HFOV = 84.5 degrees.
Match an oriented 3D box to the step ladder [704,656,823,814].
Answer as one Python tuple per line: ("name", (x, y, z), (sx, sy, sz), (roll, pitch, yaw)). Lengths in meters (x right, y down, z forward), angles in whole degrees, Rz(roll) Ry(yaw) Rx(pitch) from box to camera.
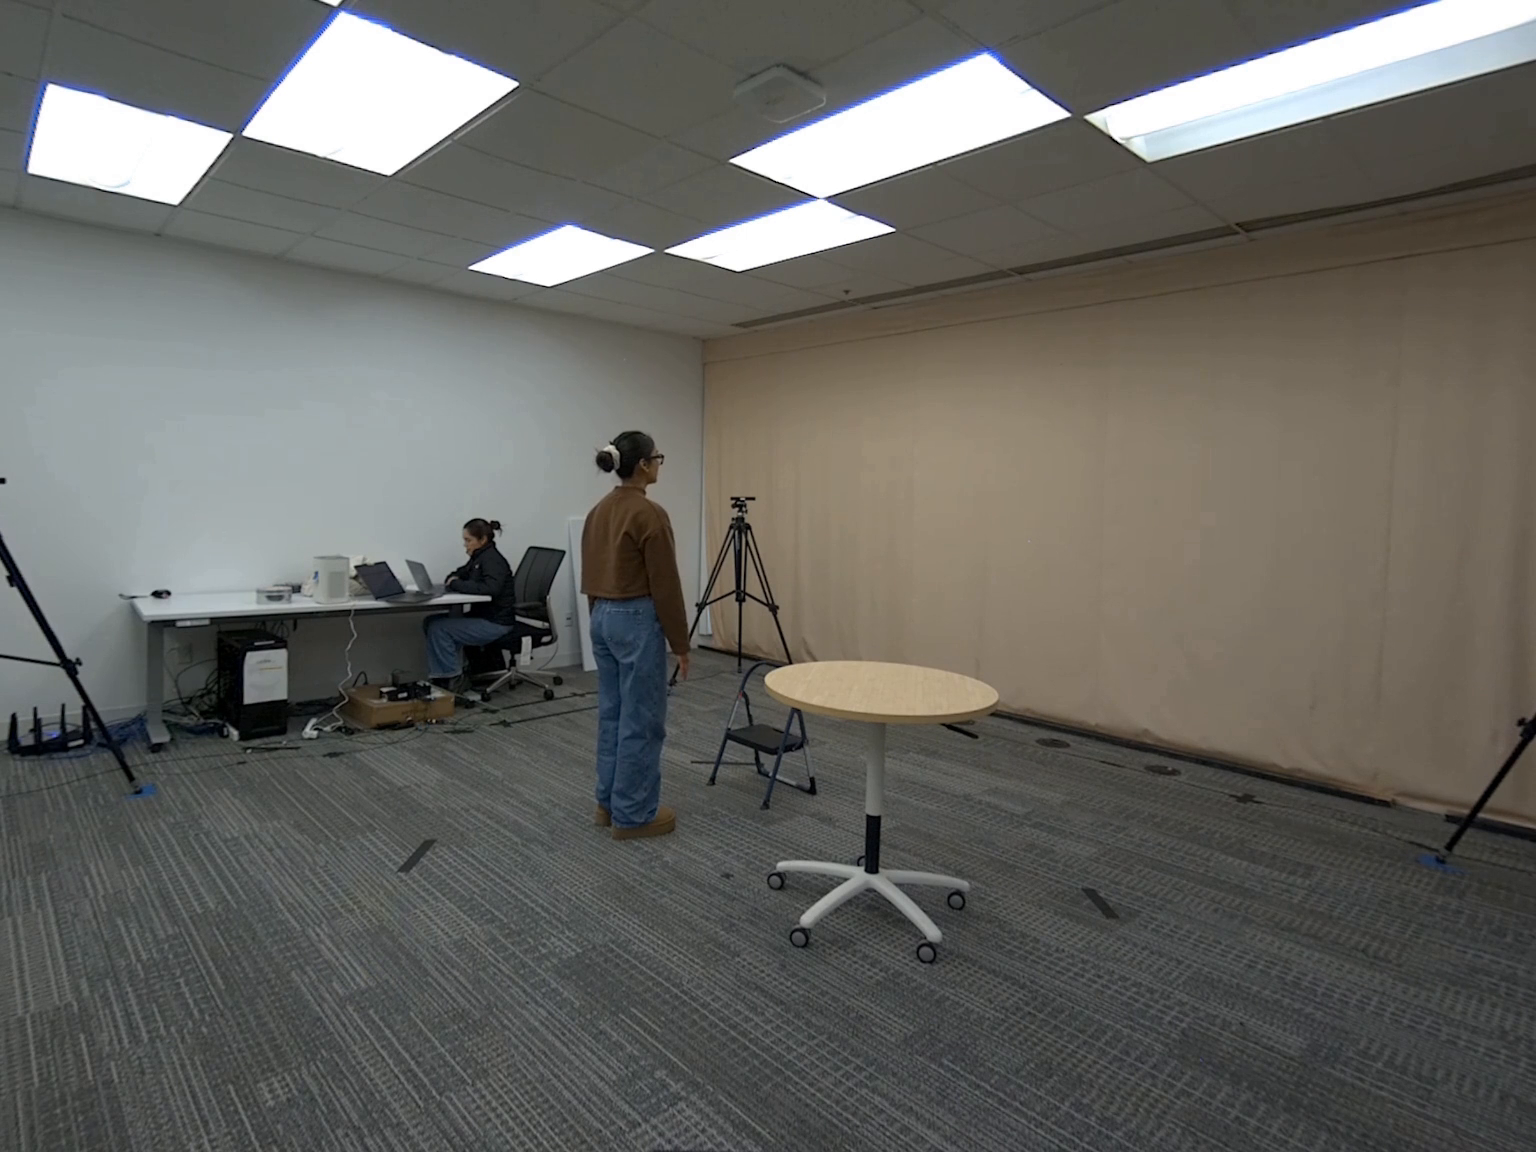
("step ladder", (-0.027, 0.732, 4.043), (0.341, 0.605, 0.441), (-1, 4, -41))
